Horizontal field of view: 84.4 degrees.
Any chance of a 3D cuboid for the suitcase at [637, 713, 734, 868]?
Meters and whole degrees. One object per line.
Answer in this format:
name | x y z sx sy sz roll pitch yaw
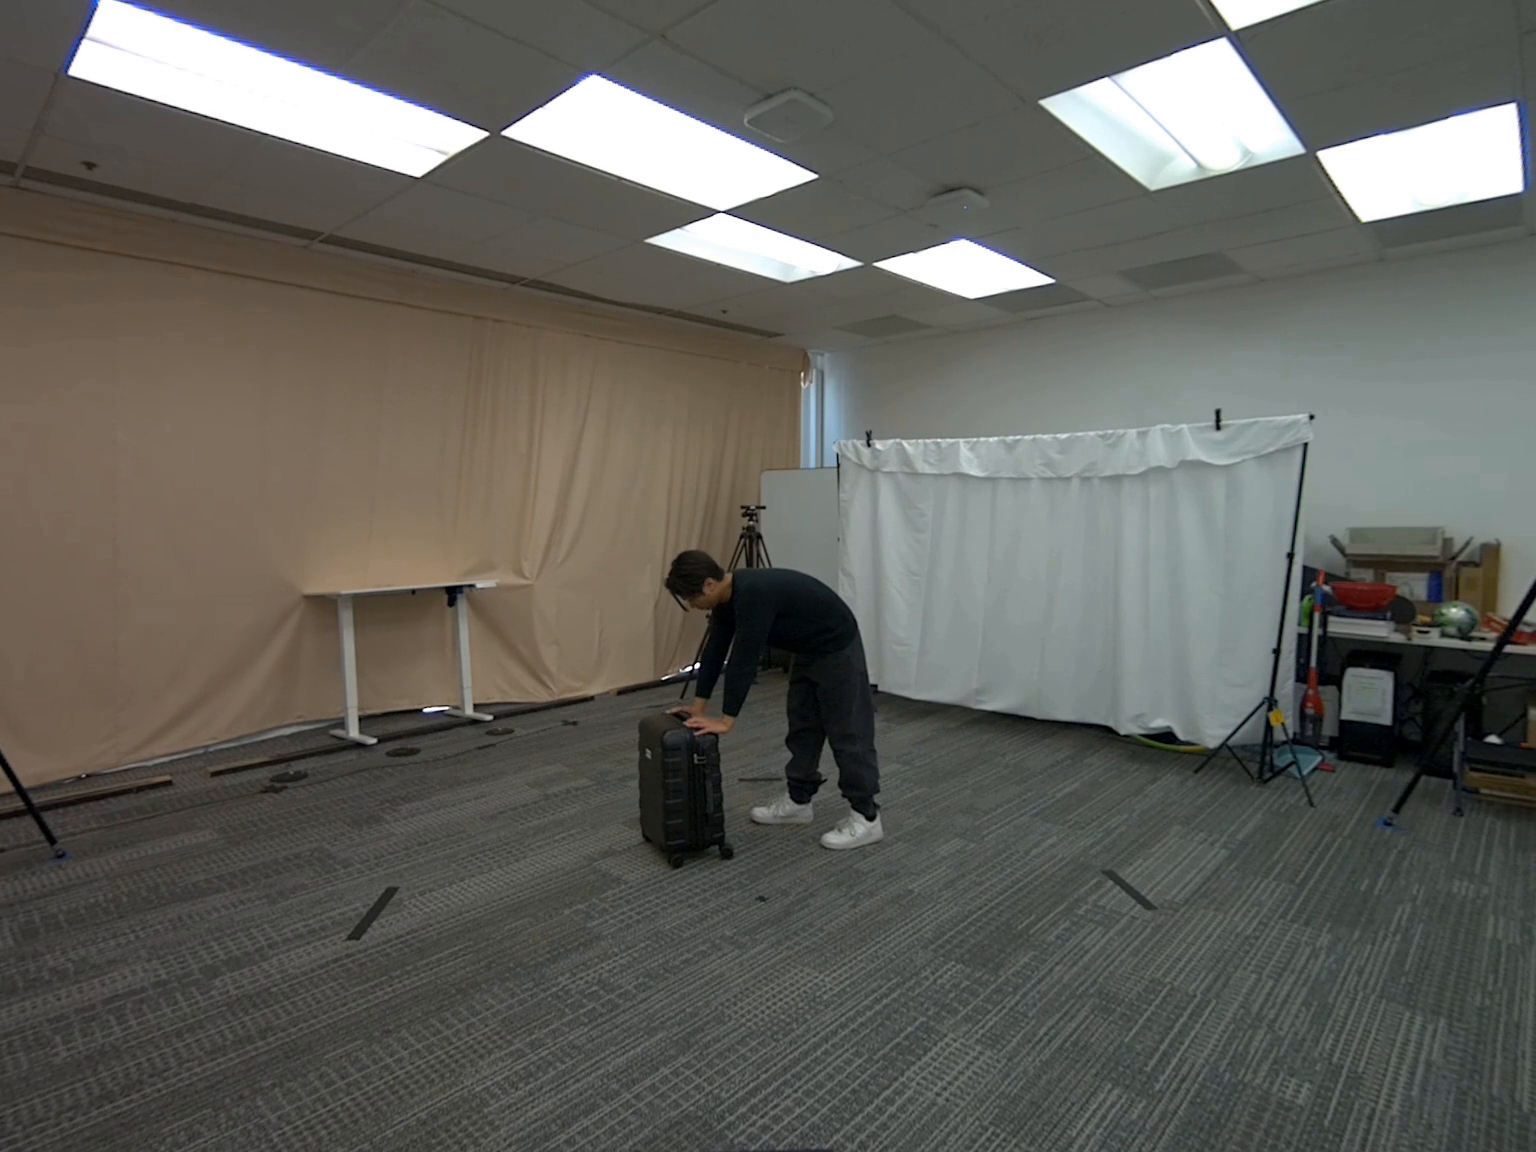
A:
suitcase | -0.351 0.837 3.399 0.242 0.548 0.385 -4 5 -27
